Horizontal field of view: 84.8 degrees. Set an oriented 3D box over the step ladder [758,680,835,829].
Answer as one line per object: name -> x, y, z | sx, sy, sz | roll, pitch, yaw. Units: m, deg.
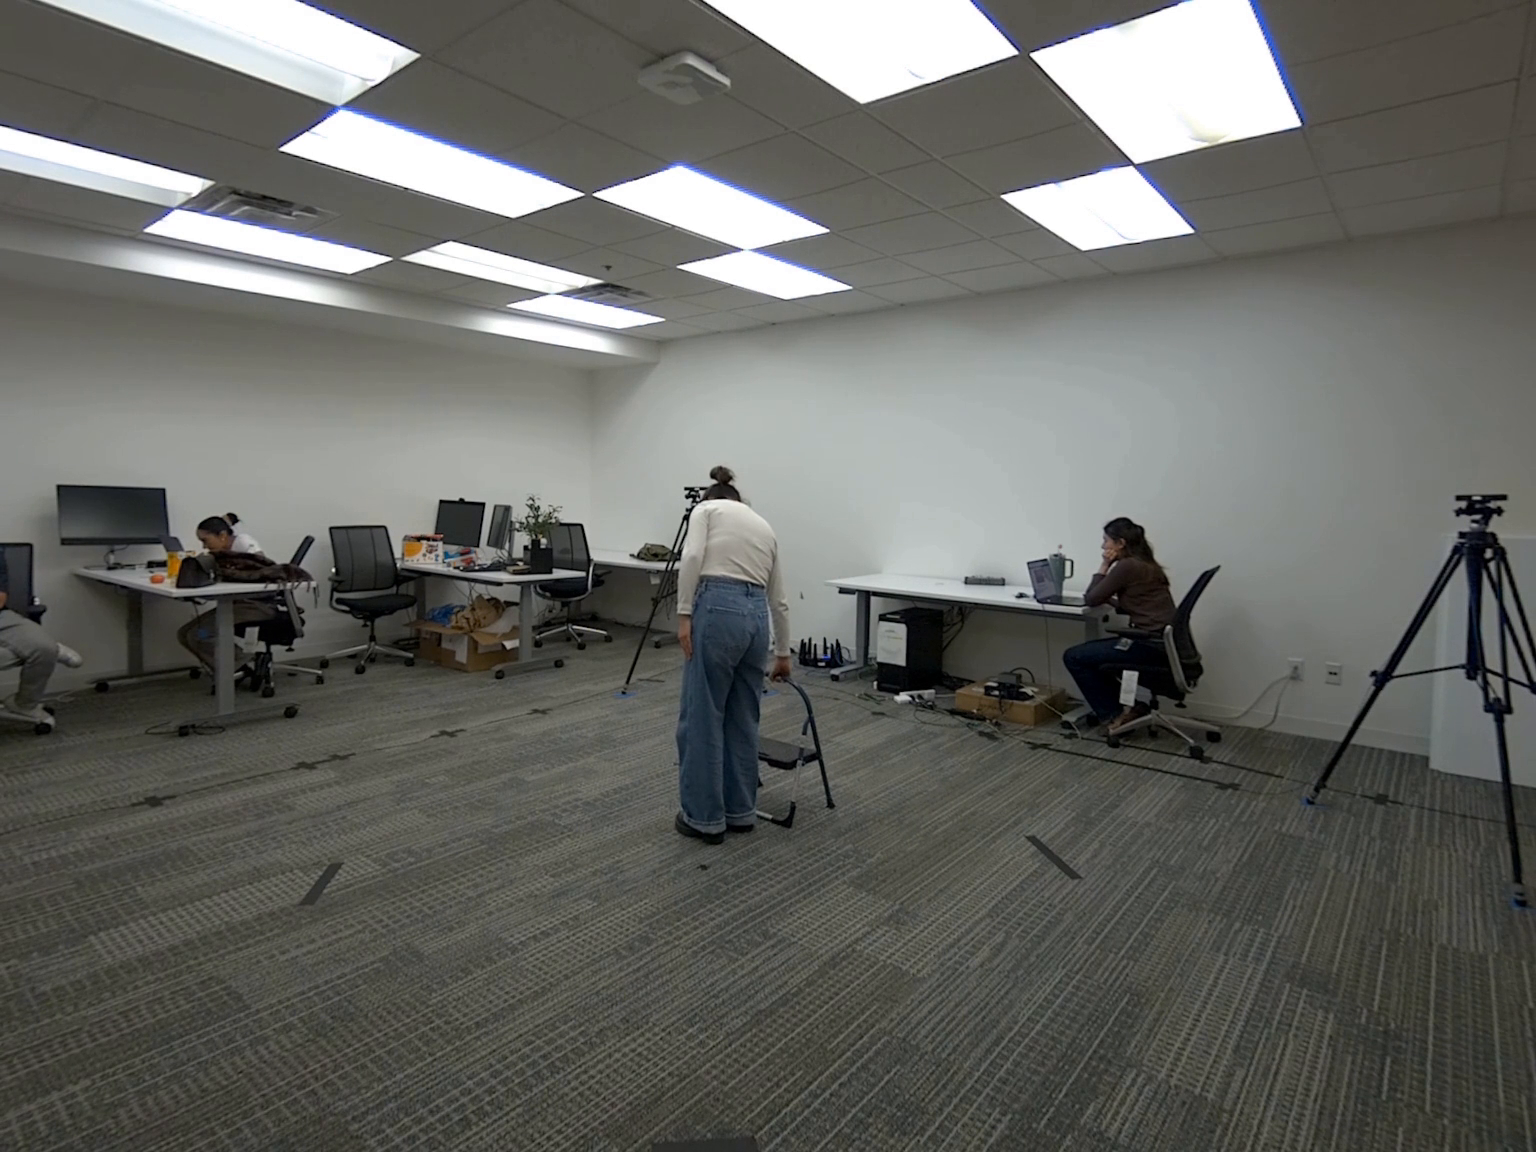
step ladder -> 0.027, 0.706, 3.738 | 0.445, 0.605, 0.339 | 3, 3, 39
